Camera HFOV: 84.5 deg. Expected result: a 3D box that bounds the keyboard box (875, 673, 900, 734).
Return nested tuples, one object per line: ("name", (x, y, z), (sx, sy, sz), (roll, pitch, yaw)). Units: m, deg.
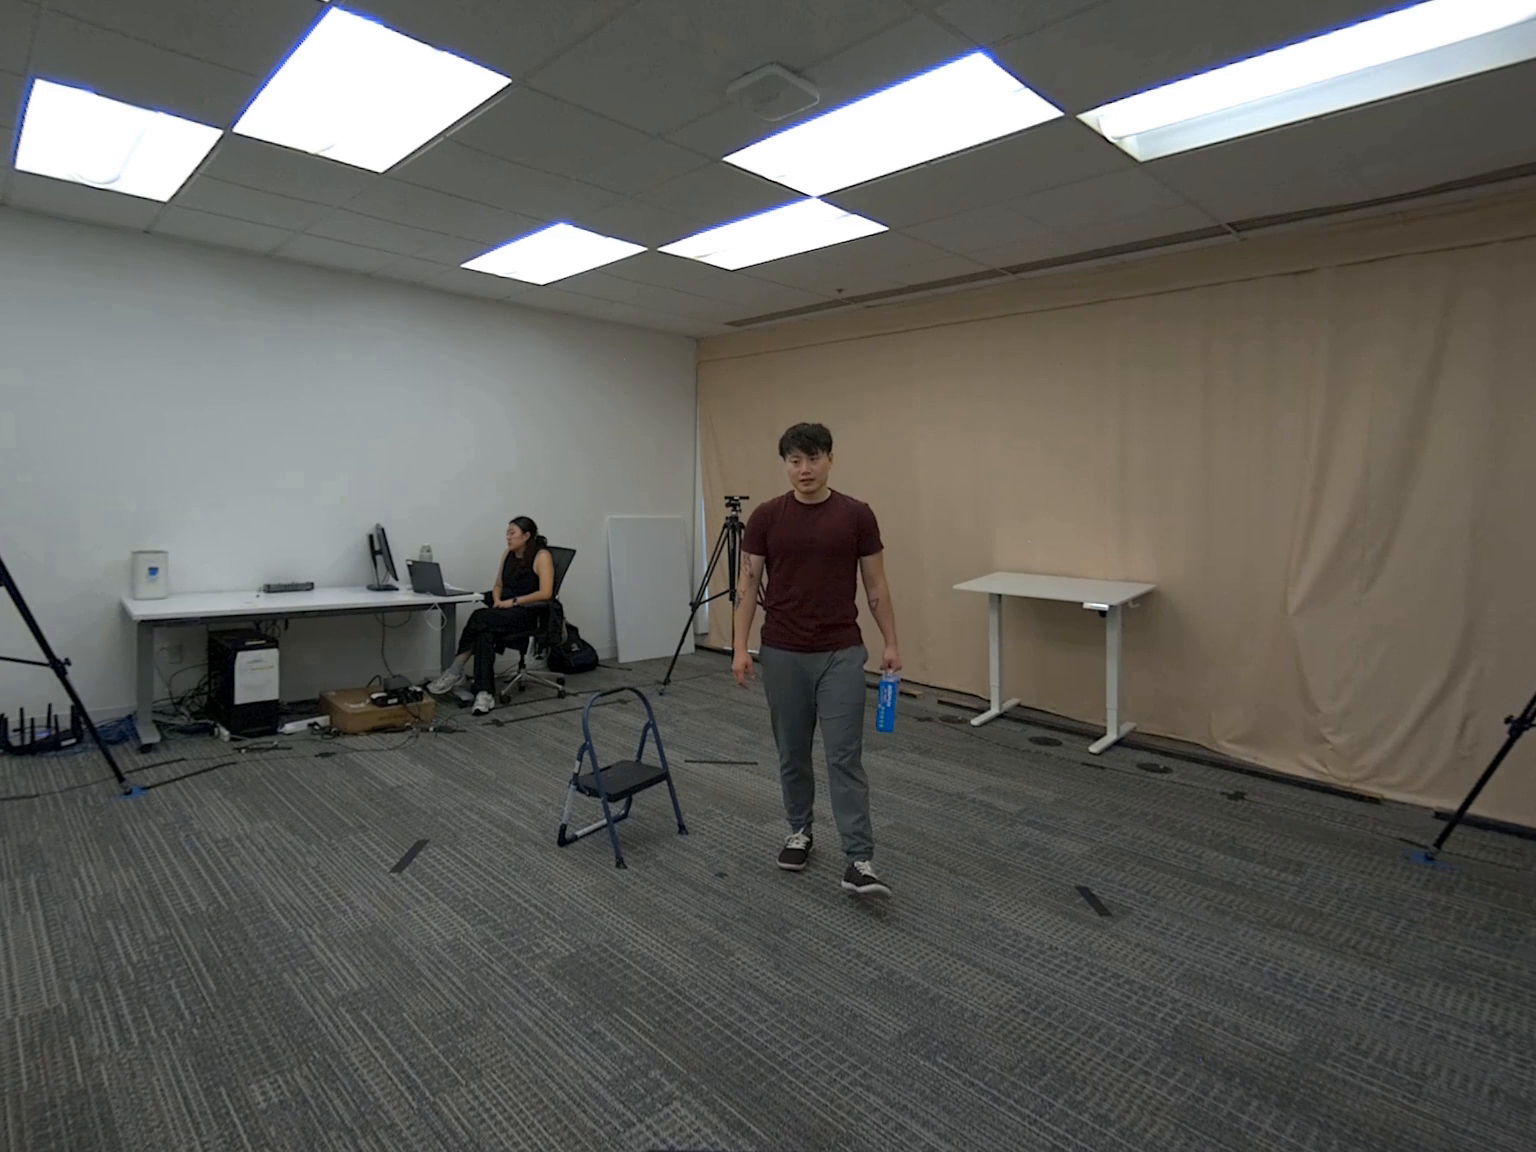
("keyboard box", (0.437, 0.452, 3.096), (0.060, 0.176, 0.432), (4, 0, 10))
